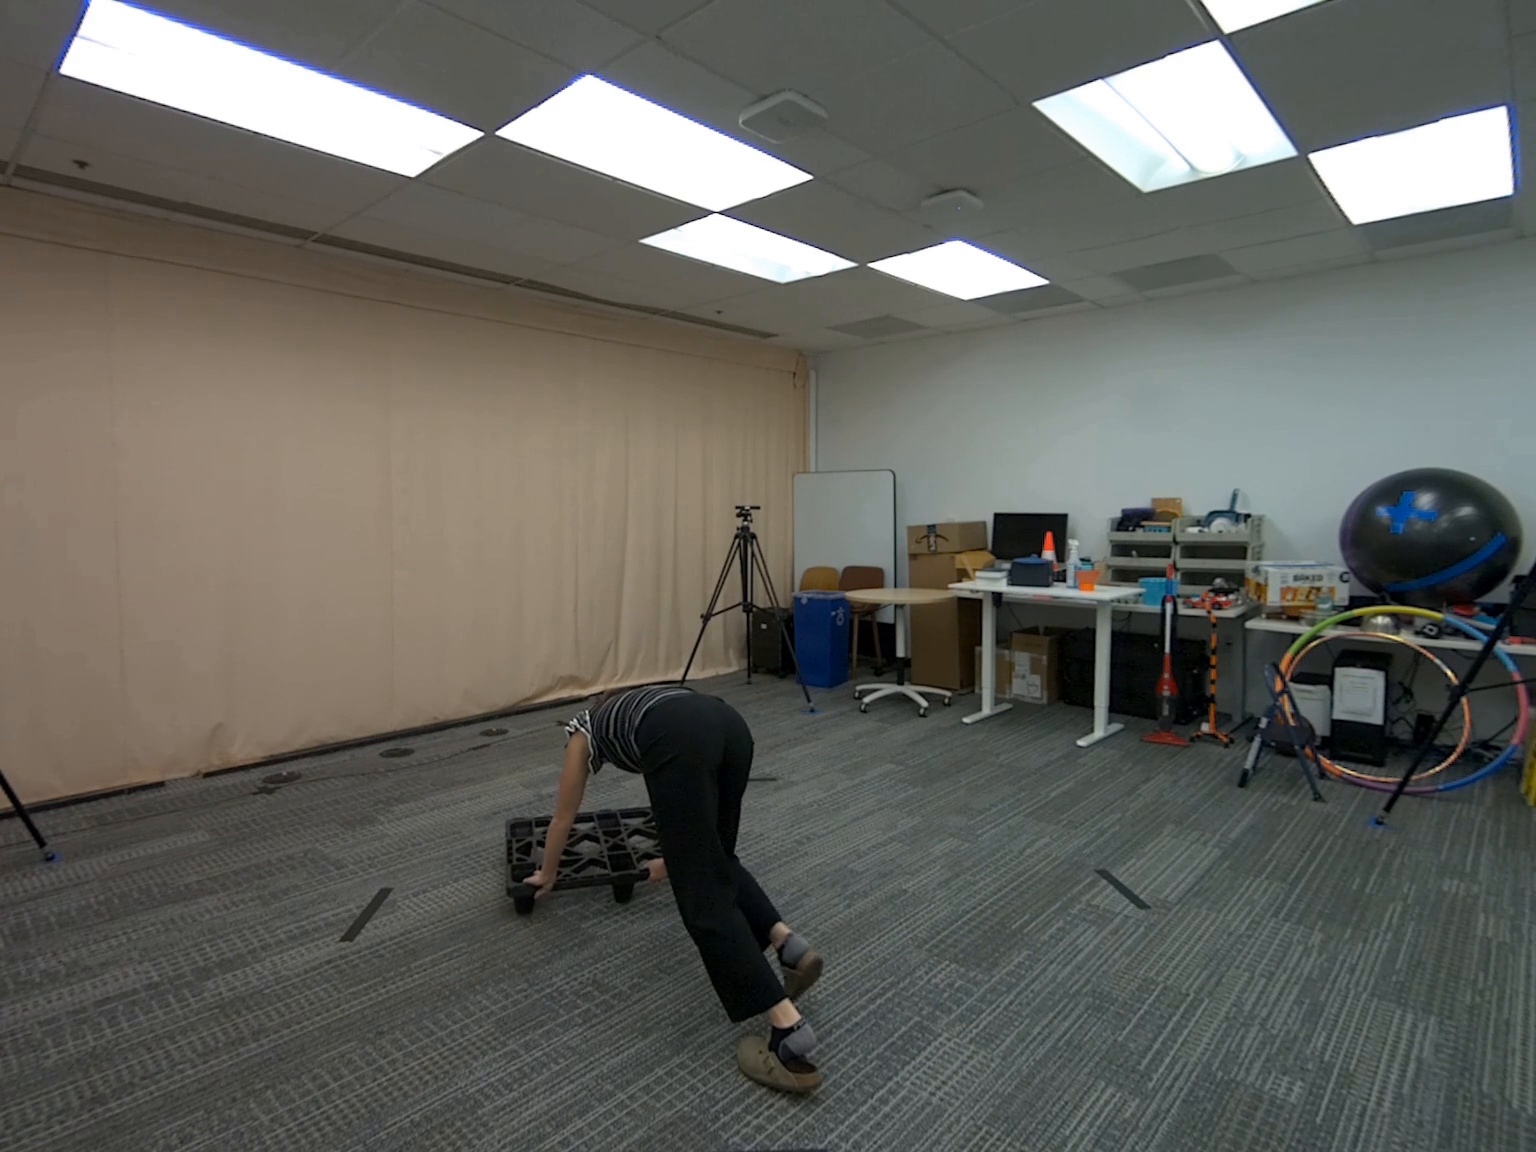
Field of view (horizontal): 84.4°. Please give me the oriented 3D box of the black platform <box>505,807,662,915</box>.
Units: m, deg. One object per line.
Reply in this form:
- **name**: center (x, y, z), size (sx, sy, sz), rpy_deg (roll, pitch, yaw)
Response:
- **black platform**: center (-0.579, 1.059, 3.187), size (0.793, 0.143, 0.616), rpy_deg (-2, 5, -16)
